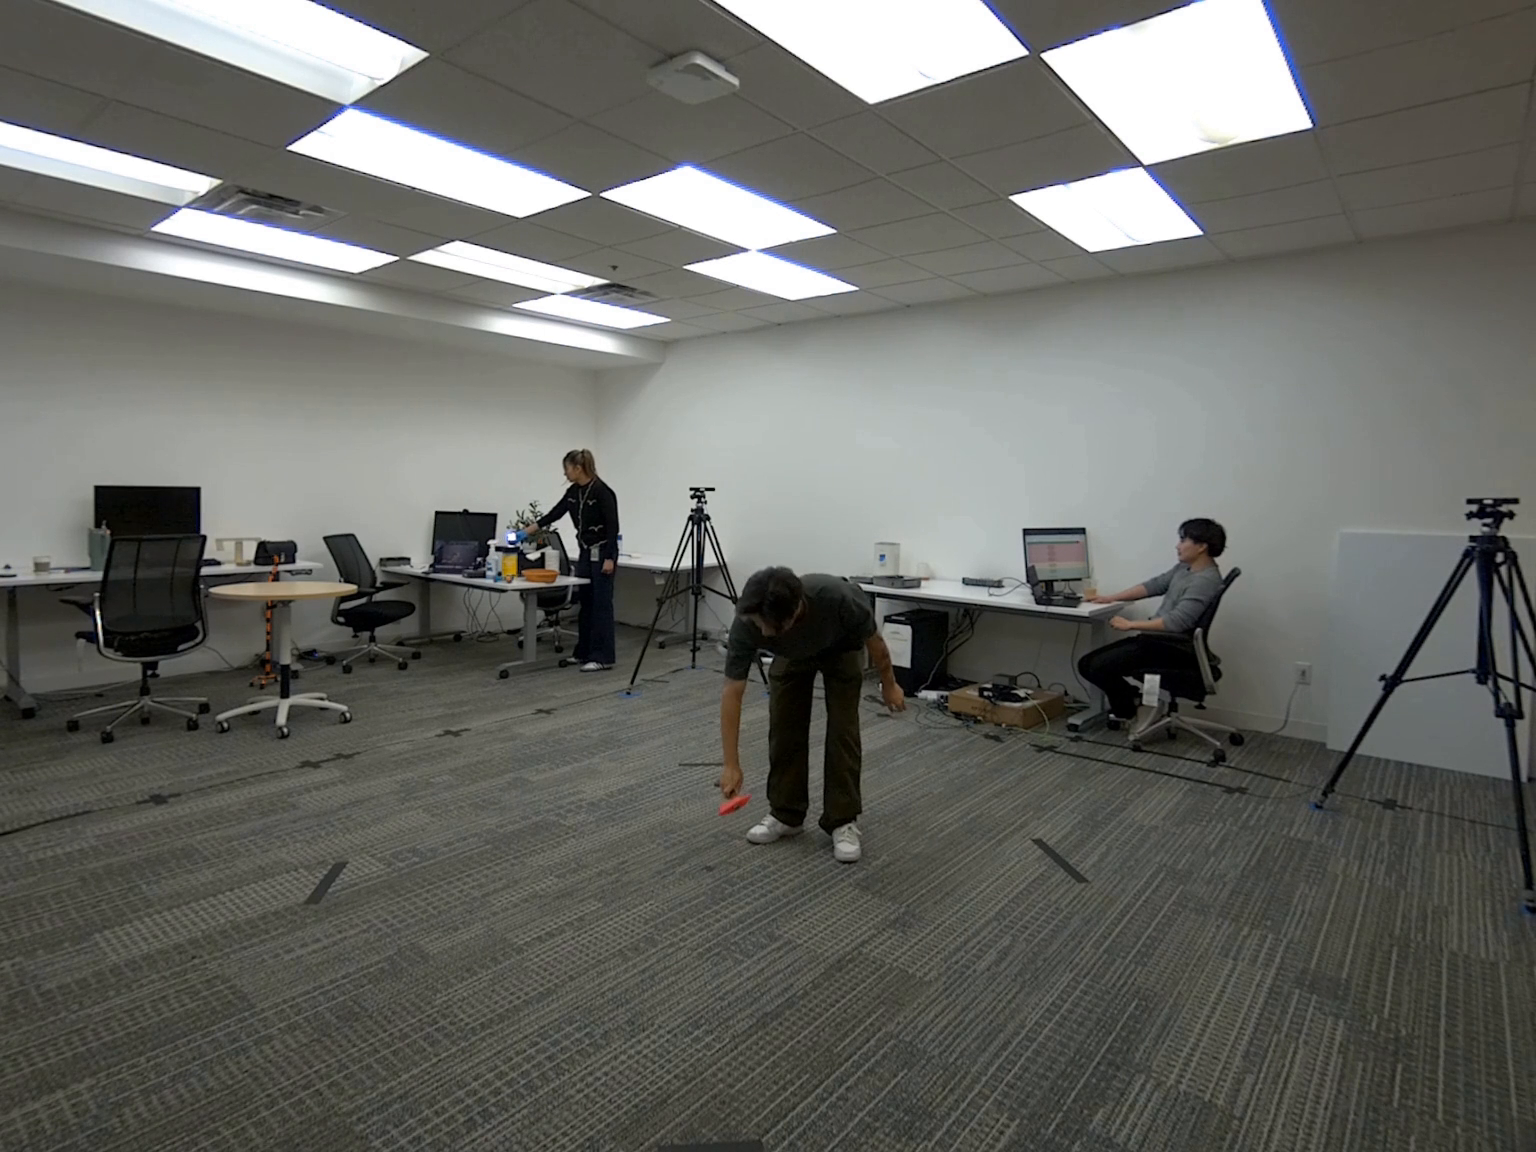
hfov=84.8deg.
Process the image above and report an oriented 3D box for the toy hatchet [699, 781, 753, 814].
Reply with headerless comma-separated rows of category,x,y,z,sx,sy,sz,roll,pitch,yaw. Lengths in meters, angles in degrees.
toy hatchet,-0.158,0.799,3.075,0.130,0.029,0.272,-37,4,-21
